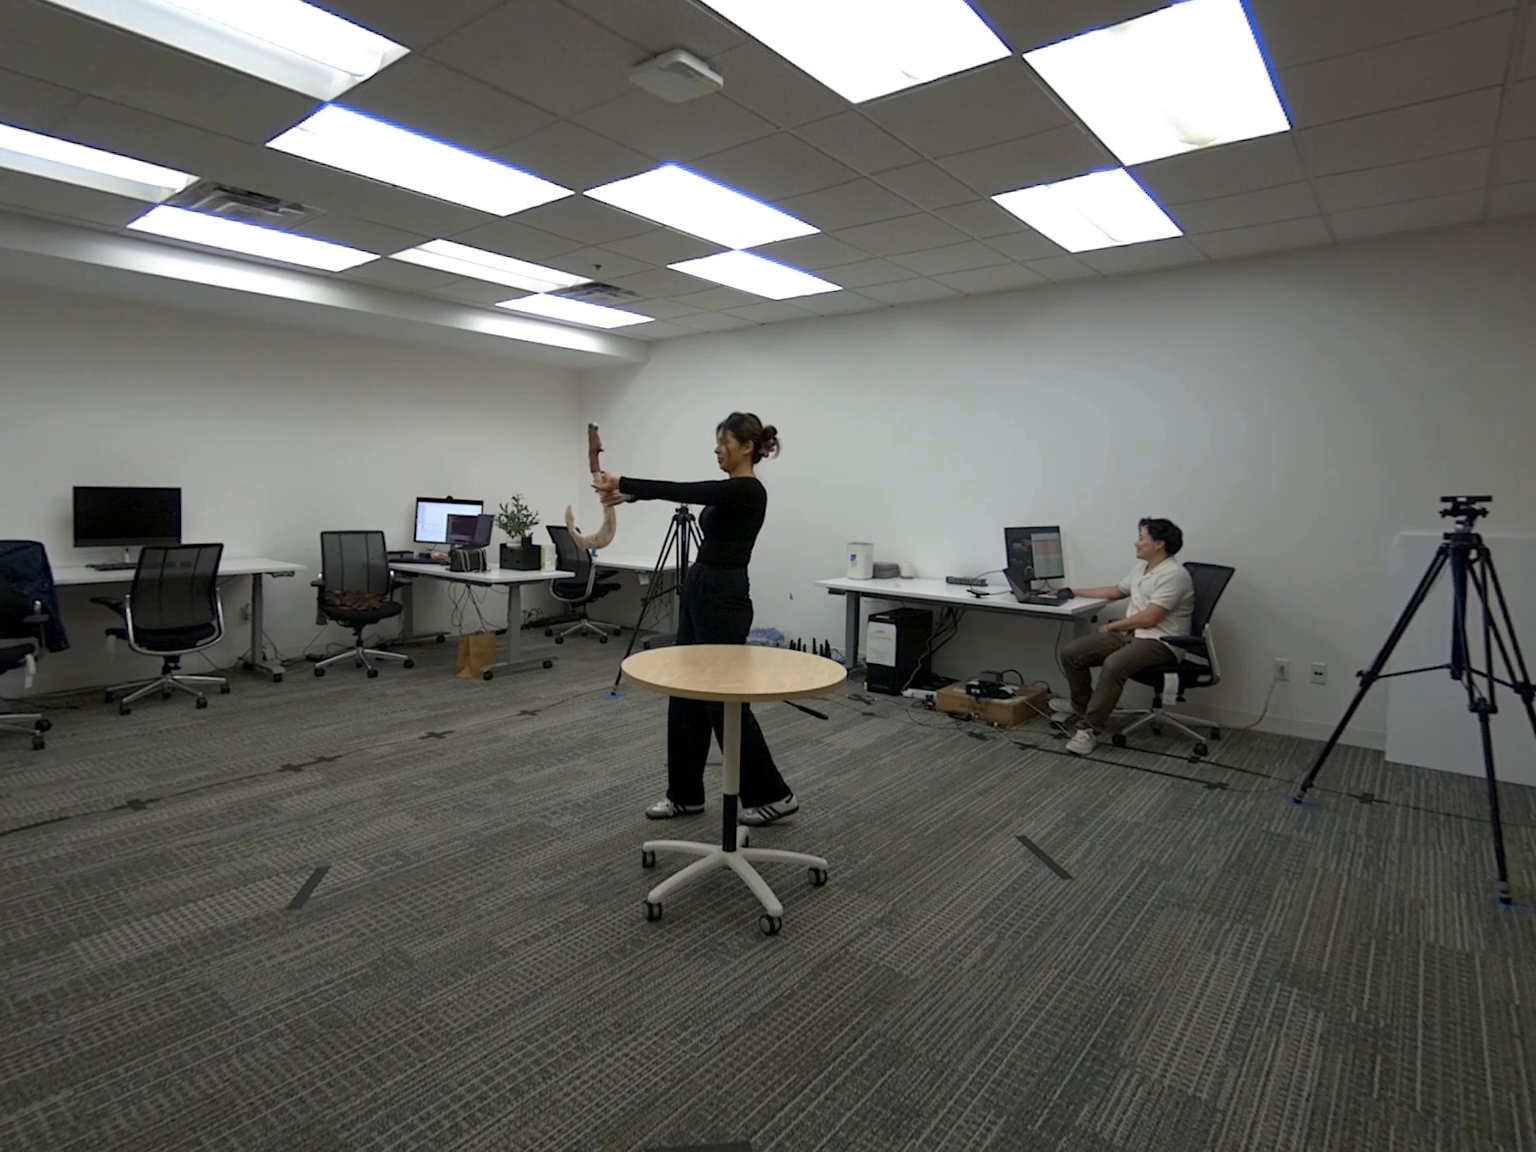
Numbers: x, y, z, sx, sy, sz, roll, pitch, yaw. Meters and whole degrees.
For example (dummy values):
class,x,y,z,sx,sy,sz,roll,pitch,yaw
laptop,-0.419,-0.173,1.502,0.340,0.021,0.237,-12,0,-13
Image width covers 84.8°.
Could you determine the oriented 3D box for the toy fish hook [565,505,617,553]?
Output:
class,x,y,z,sx,sy,sz,roll,pitch,yaw
toy fish hook,-0.744,-0.360,3.411,0.228,0.508,0.047,-7,-2,15
